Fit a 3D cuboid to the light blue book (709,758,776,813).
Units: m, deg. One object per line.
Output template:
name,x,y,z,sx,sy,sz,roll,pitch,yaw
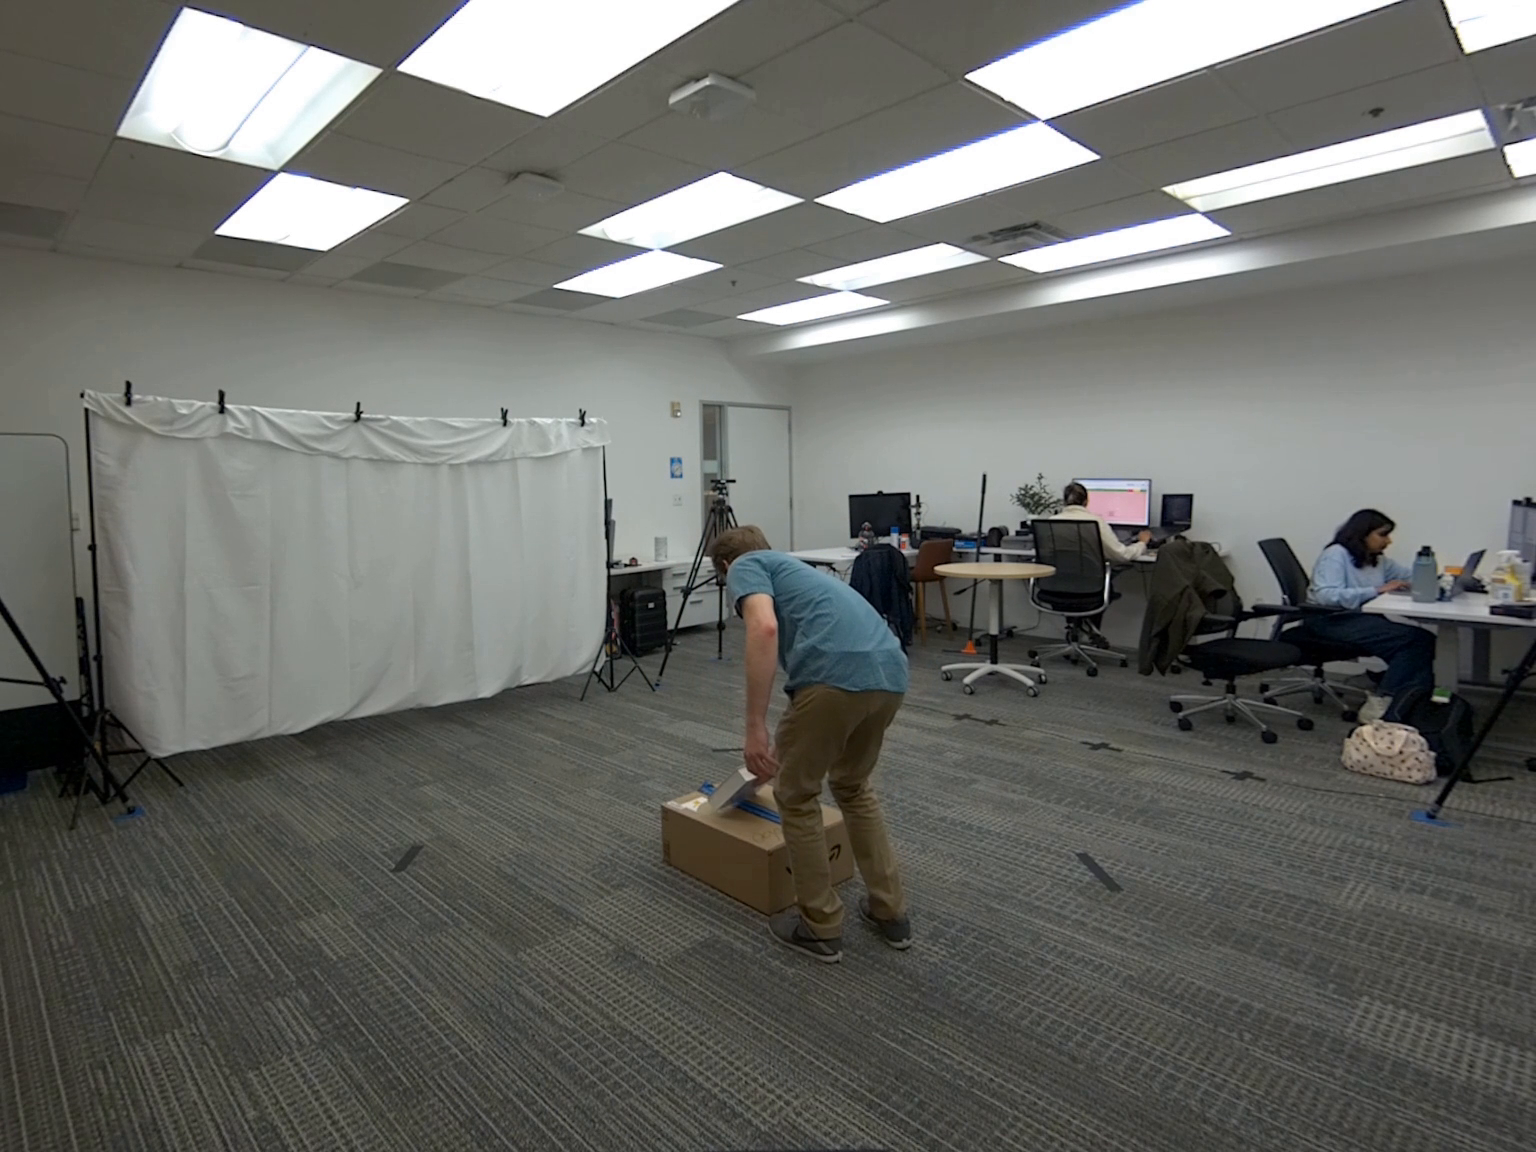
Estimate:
light blue book,-0.063,0.738,3.078,0.191,0.060,0.254,-46,-21,25
